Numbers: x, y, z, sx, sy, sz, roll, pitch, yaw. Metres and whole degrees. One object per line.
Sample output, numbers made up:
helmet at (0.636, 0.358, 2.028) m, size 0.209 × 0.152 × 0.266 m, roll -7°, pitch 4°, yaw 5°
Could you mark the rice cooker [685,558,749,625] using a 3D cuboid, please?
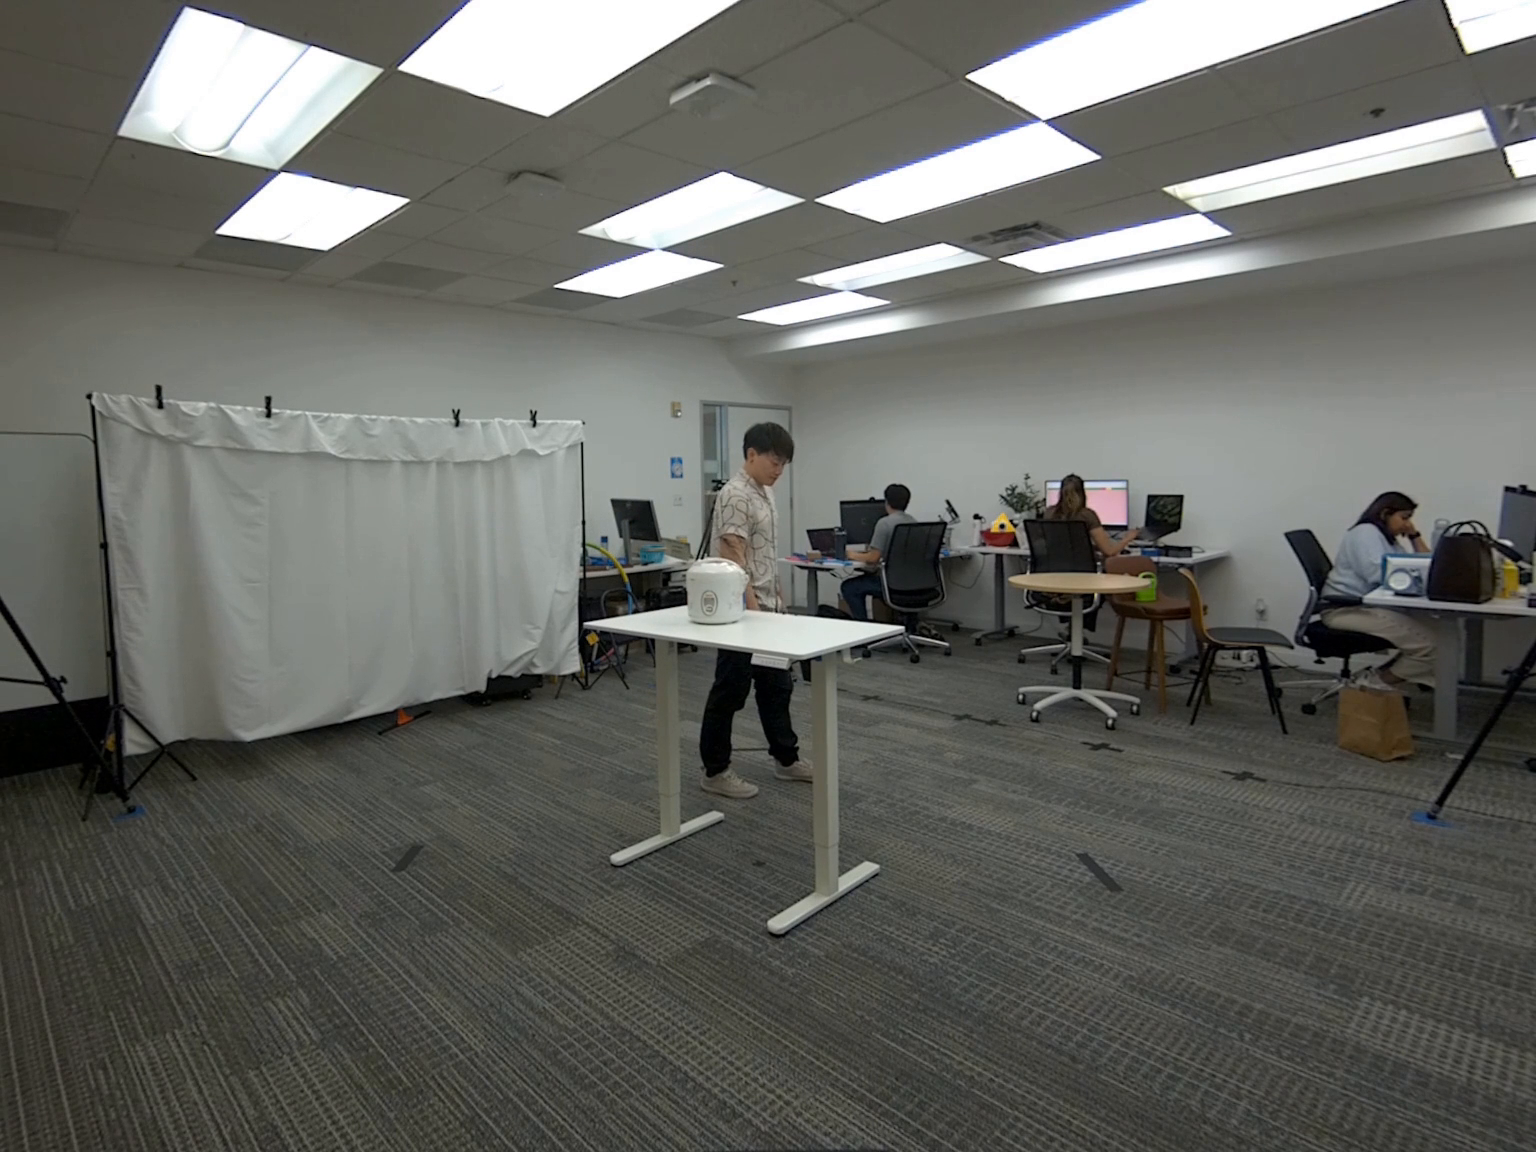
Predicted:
rice cooker at (-0.192, 0.052, 3.124) m, size 0.223 × 0.232 × 0.215 m, roll -1°, pitch 3°, yaw 11°
